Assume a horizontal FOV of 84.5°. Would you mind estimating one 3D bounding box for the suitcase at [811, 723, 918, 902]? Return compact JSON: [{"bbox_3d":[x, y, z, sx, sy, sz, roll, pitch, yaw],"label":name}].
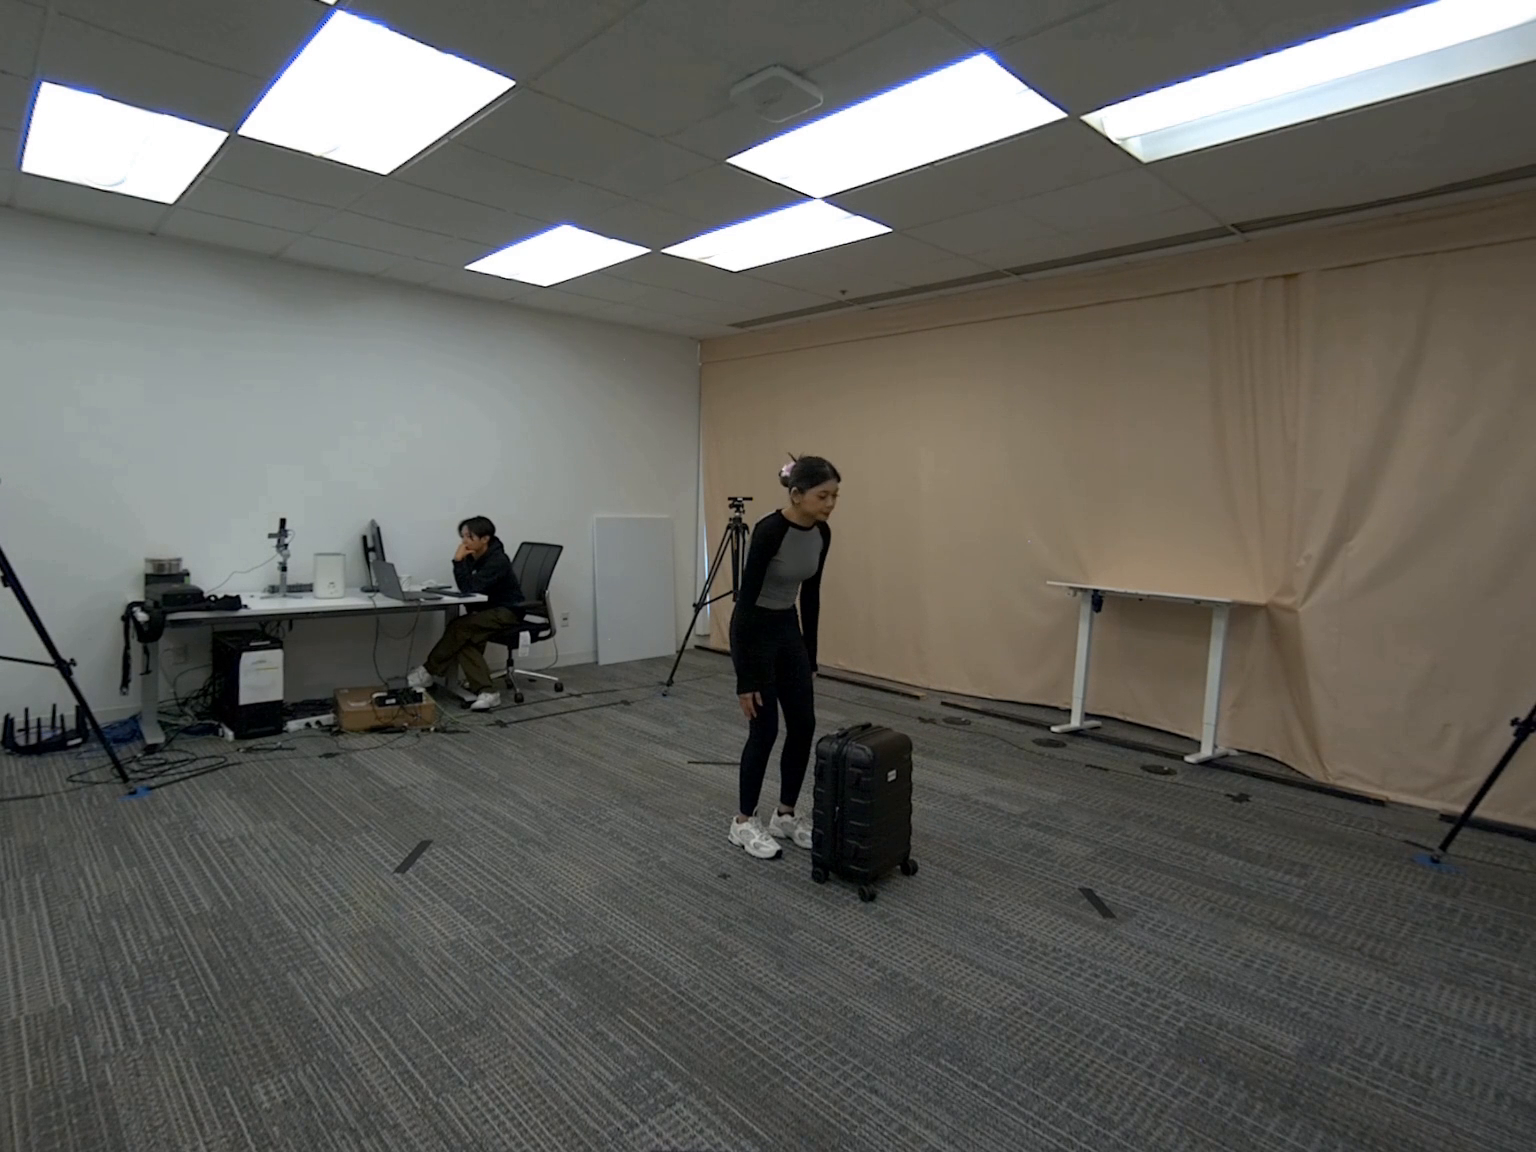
[{"bbox_3d":[0.351,0.840,3.116,0.254,0.548,0.367,2,3,41],"label":"suitcase"}]
